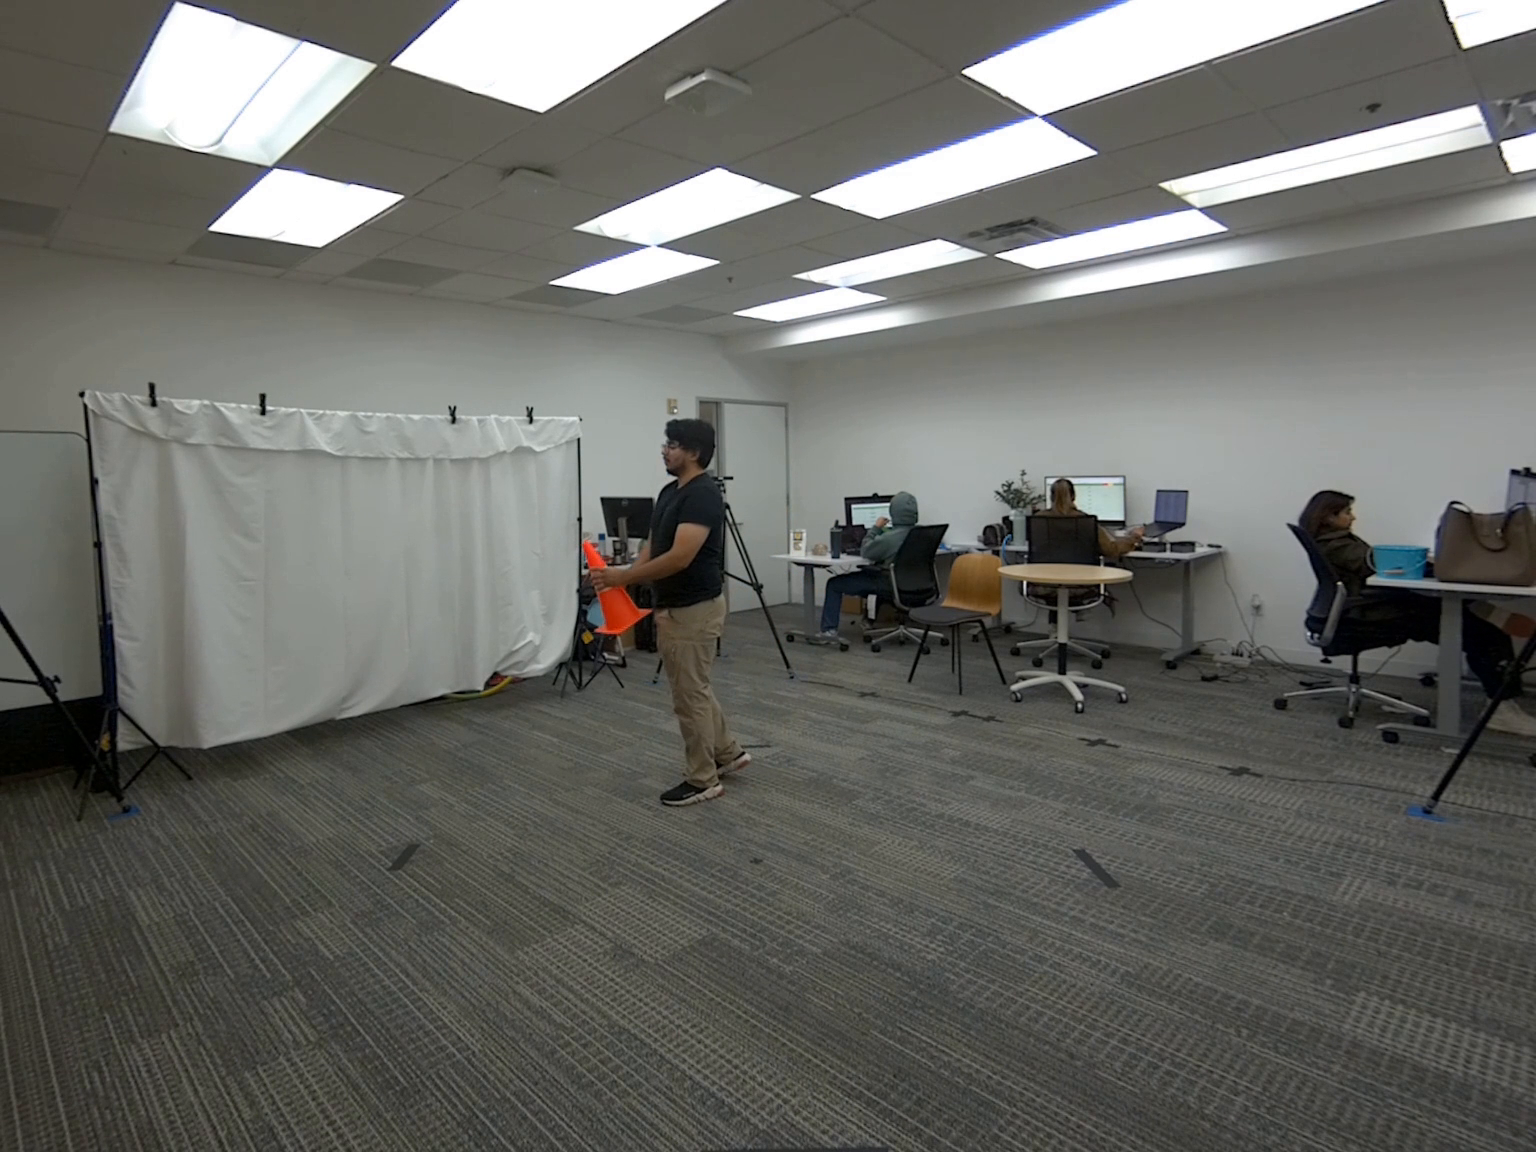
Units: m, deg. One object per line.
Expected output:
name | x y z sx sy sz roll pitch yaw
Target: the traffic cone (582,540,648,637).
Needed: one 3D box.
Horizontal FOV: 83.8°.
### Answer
traffic cone | -0.690 0.032 3.583 0.209 0.377 0.203 -4 23 47
